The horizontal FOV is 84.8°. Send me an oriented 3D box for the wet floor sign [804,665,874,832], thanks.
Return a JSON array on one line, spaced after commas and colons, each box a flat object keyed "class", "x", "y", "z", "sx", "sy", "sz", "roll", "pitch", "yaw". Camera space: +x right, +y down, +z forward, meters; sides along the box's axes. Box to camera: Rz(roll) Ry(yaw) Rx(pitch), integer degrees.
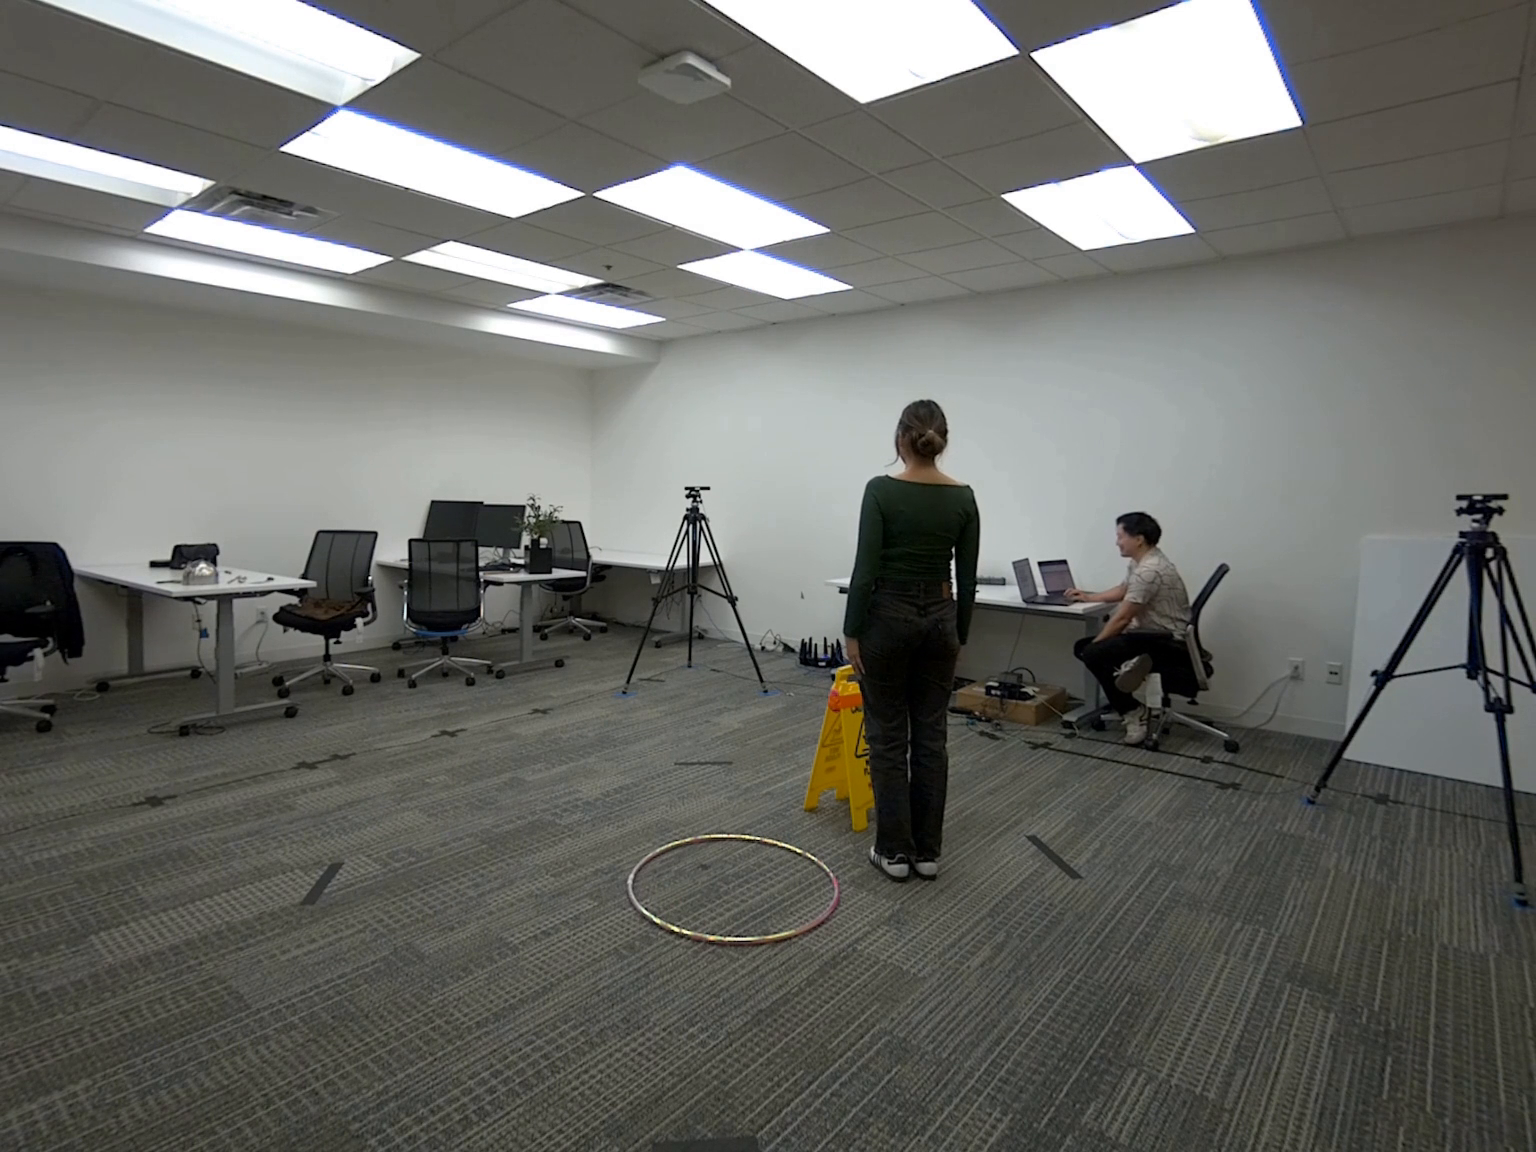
[{"class": "wet floor sign", "x": 0.353, "y": 0.697, "z": 3.646, "sx": 0.274, "sy": 0.644, "sz": 0.300, "roll": -2, "pitch": 5, "yaw": -42}]
